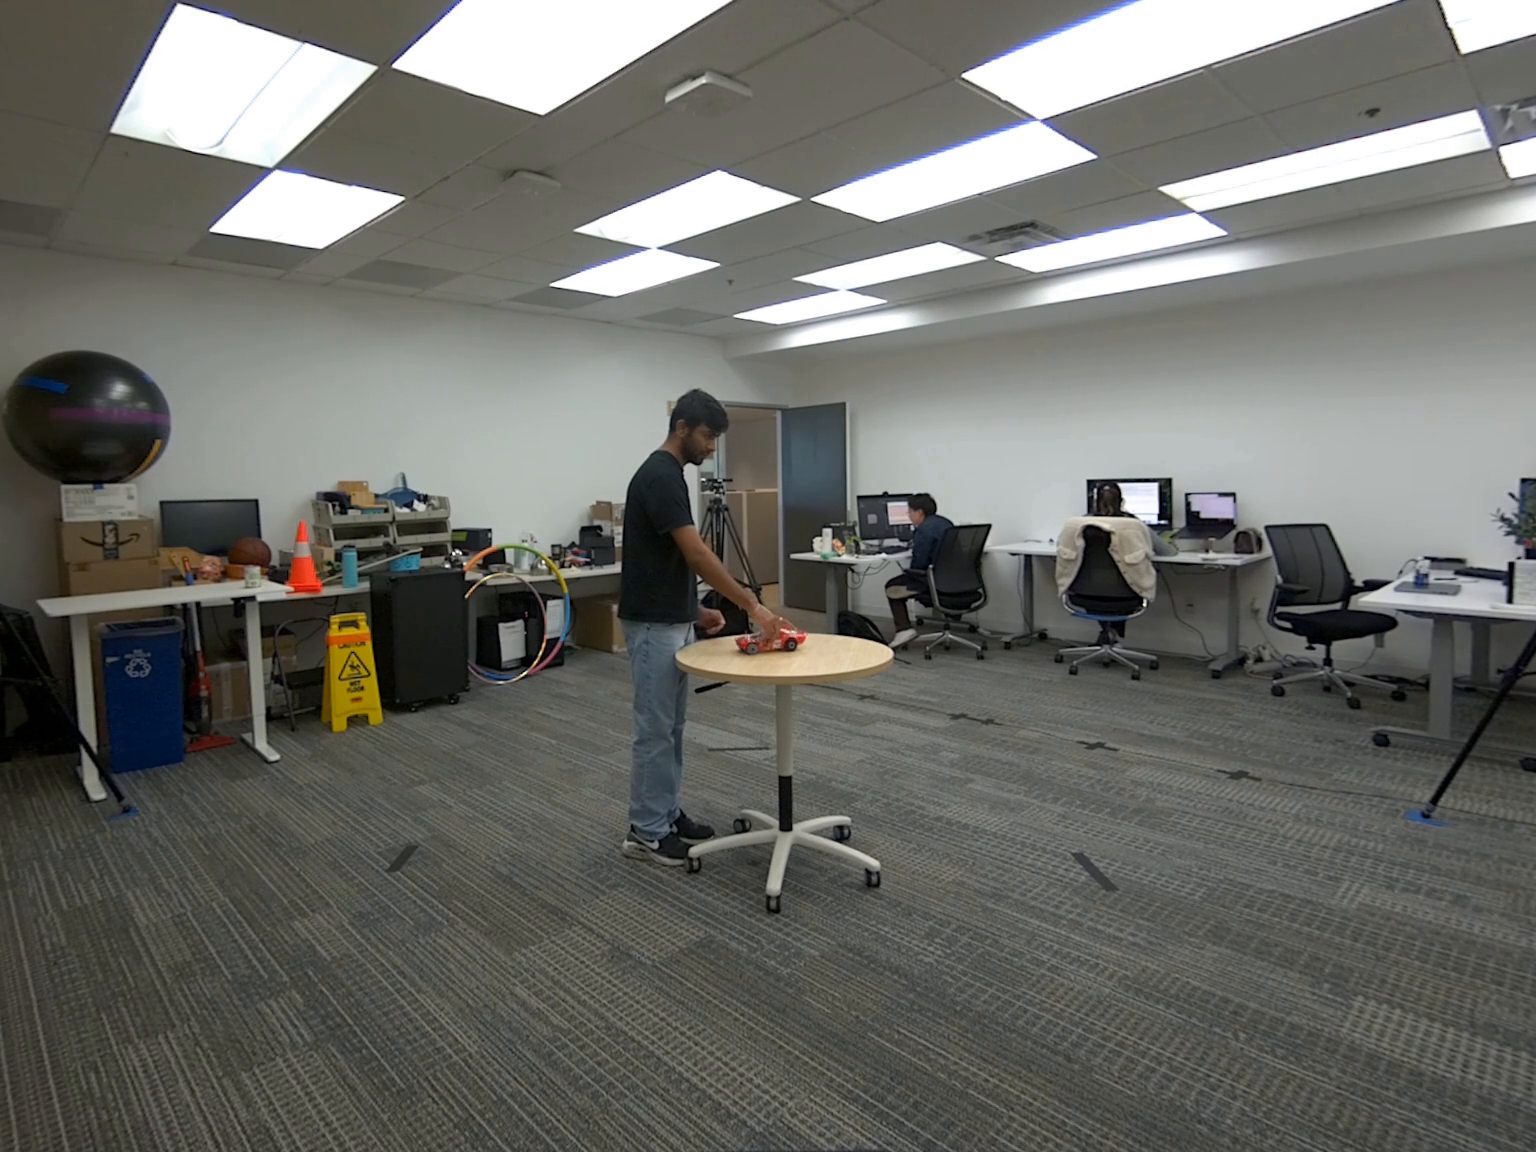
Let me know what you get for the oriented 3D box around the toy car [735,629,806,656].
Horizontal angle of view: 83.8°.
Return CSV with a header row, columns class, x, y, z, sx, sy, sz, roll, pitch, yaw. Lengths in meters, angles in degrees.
class,x,y,z,sx,sy,sz,roll,pitch,yaw
toy car,0.017,0.233,3.052,0.251,0.082,0.133,-14,8,-16
